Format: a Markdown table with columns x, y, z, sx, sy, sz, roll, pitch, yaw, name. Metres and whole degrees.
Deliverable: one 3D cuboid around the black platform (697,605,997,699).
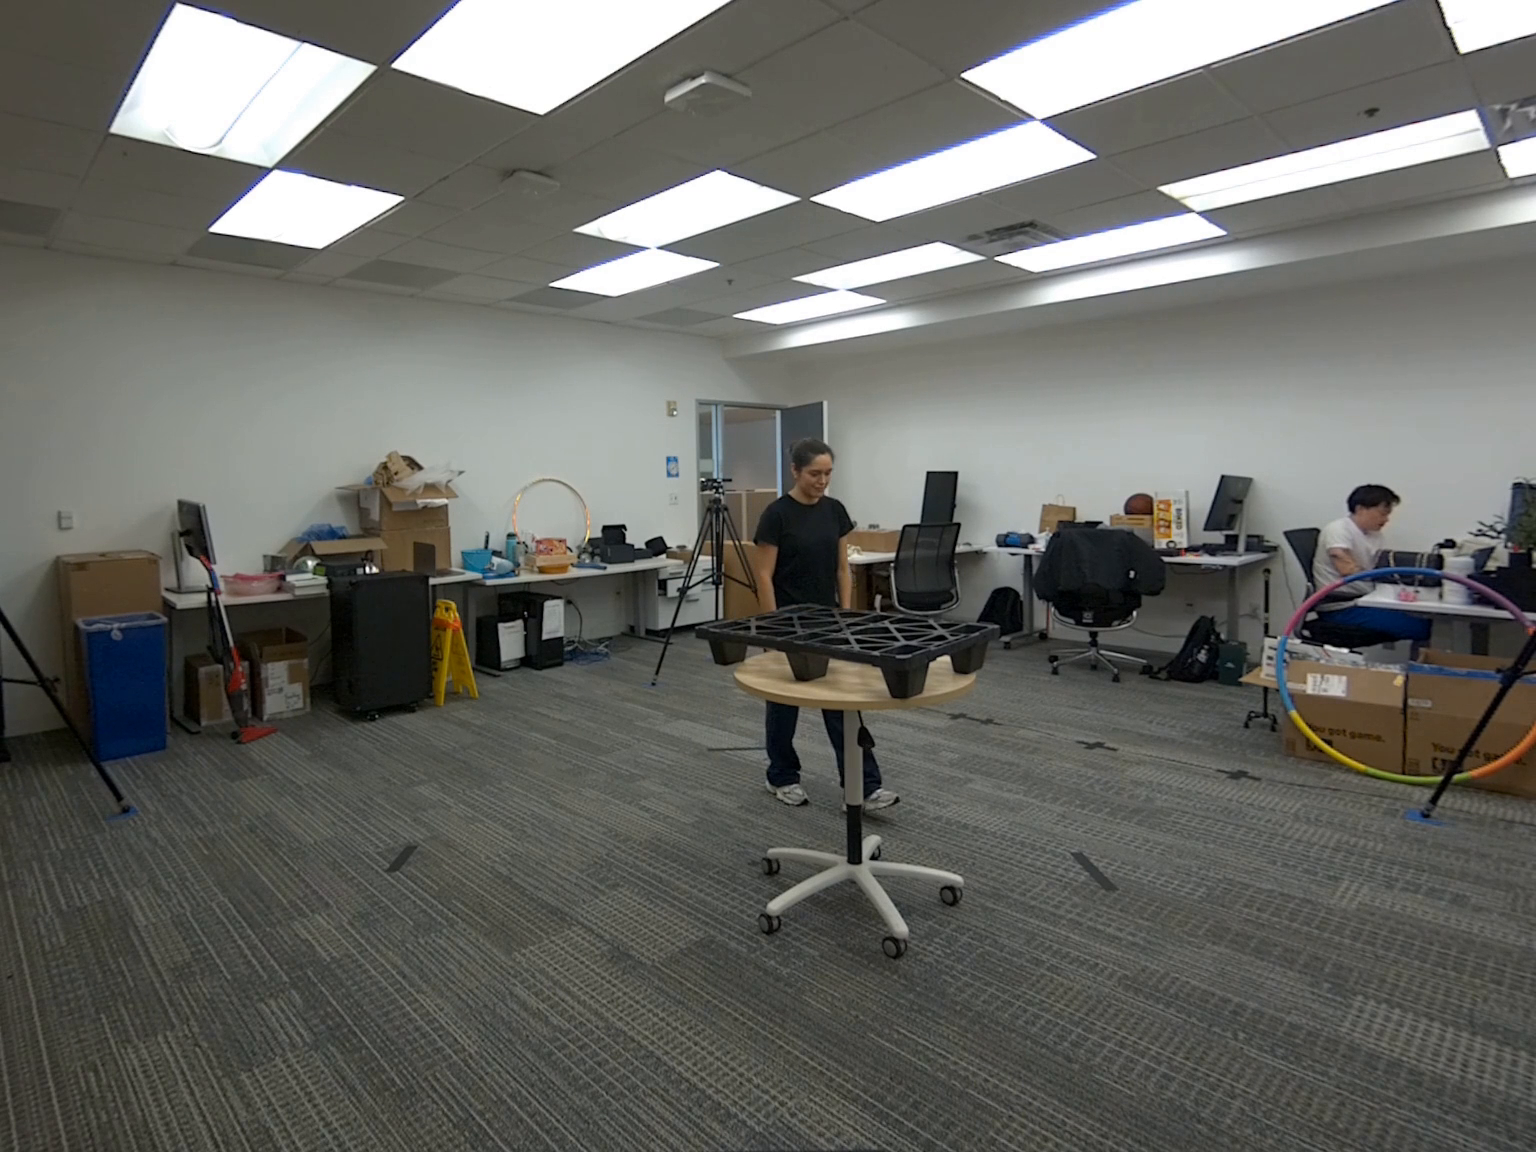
| x | y | z | sx | sy | sz | roll | pitch | yaw | name |
| --- | --- | --- | --- | --- | --- | --- | --- | --- | --- |
| 0.246 | 0.232 | 2.790 | 0.830 | 0.142 | 0.590 | 4 | 9 | 42 | black platform |
